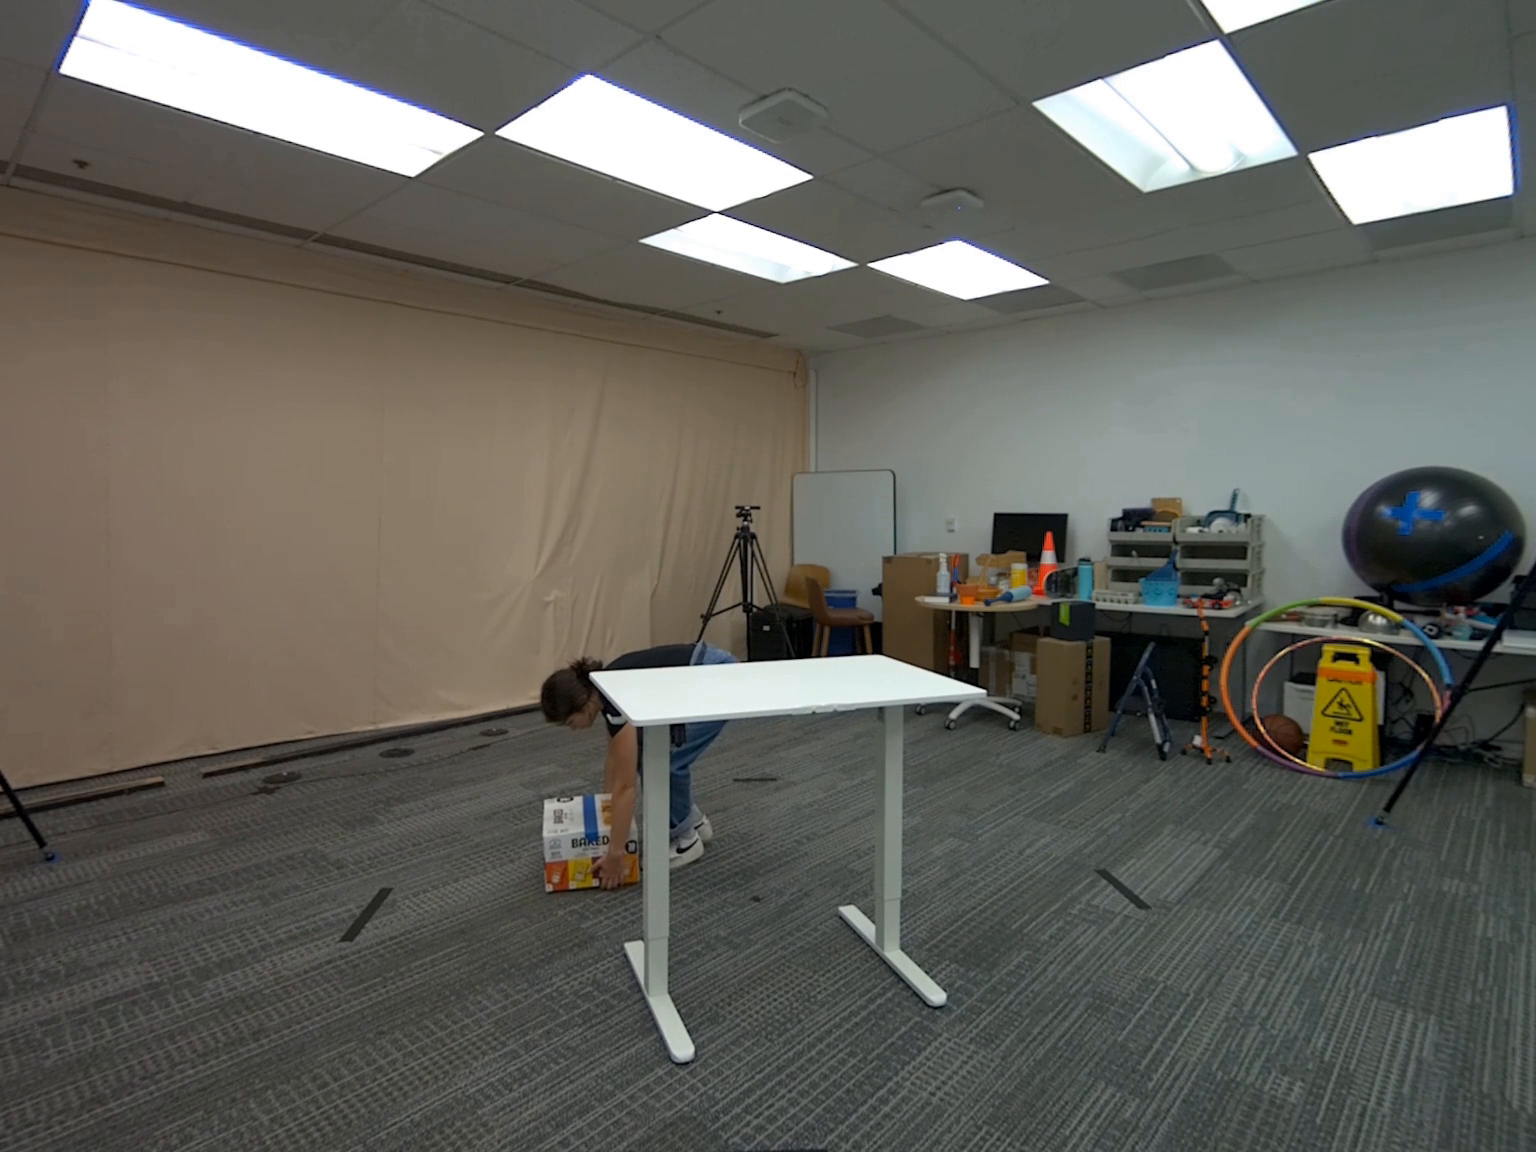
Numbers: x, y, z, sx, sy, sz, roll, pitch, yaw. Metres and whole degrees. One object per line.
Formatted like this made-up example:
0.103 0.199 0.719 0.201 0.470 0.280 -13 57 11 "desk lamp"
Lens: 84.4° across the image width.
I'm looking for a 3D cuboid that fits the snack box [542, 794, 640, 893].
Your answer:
-0.697 1.017 3.253 0.336 0.205 0.411 -3 4 -13 "snack box"
